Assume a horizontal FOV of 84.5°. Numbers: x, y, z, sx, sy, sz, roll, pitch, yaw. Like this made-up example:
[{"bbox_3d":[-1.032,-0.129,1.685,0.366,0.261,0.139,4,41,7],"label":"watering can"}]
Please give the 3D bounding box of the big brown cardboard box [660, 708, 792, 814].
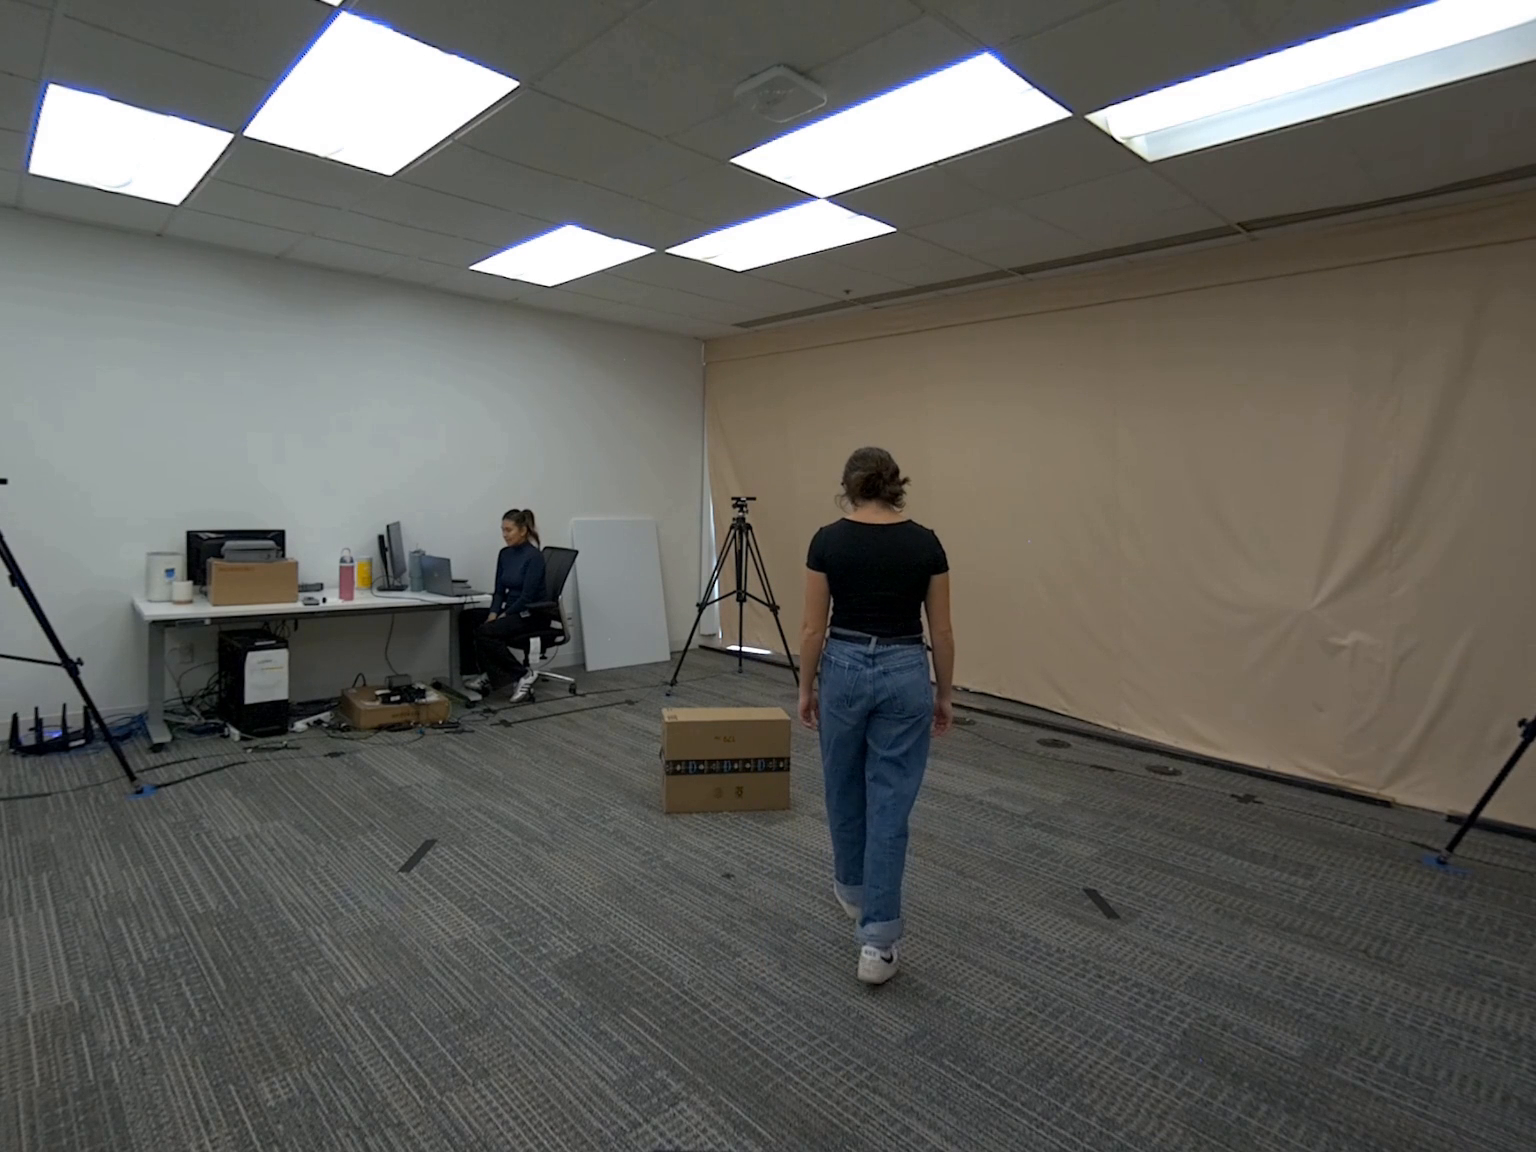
[{"bbox_3d":[-0.210,0.832,3.841,0.584,0.416,0.235,1,4,-9],"label":"big brown cardboard box"}]
